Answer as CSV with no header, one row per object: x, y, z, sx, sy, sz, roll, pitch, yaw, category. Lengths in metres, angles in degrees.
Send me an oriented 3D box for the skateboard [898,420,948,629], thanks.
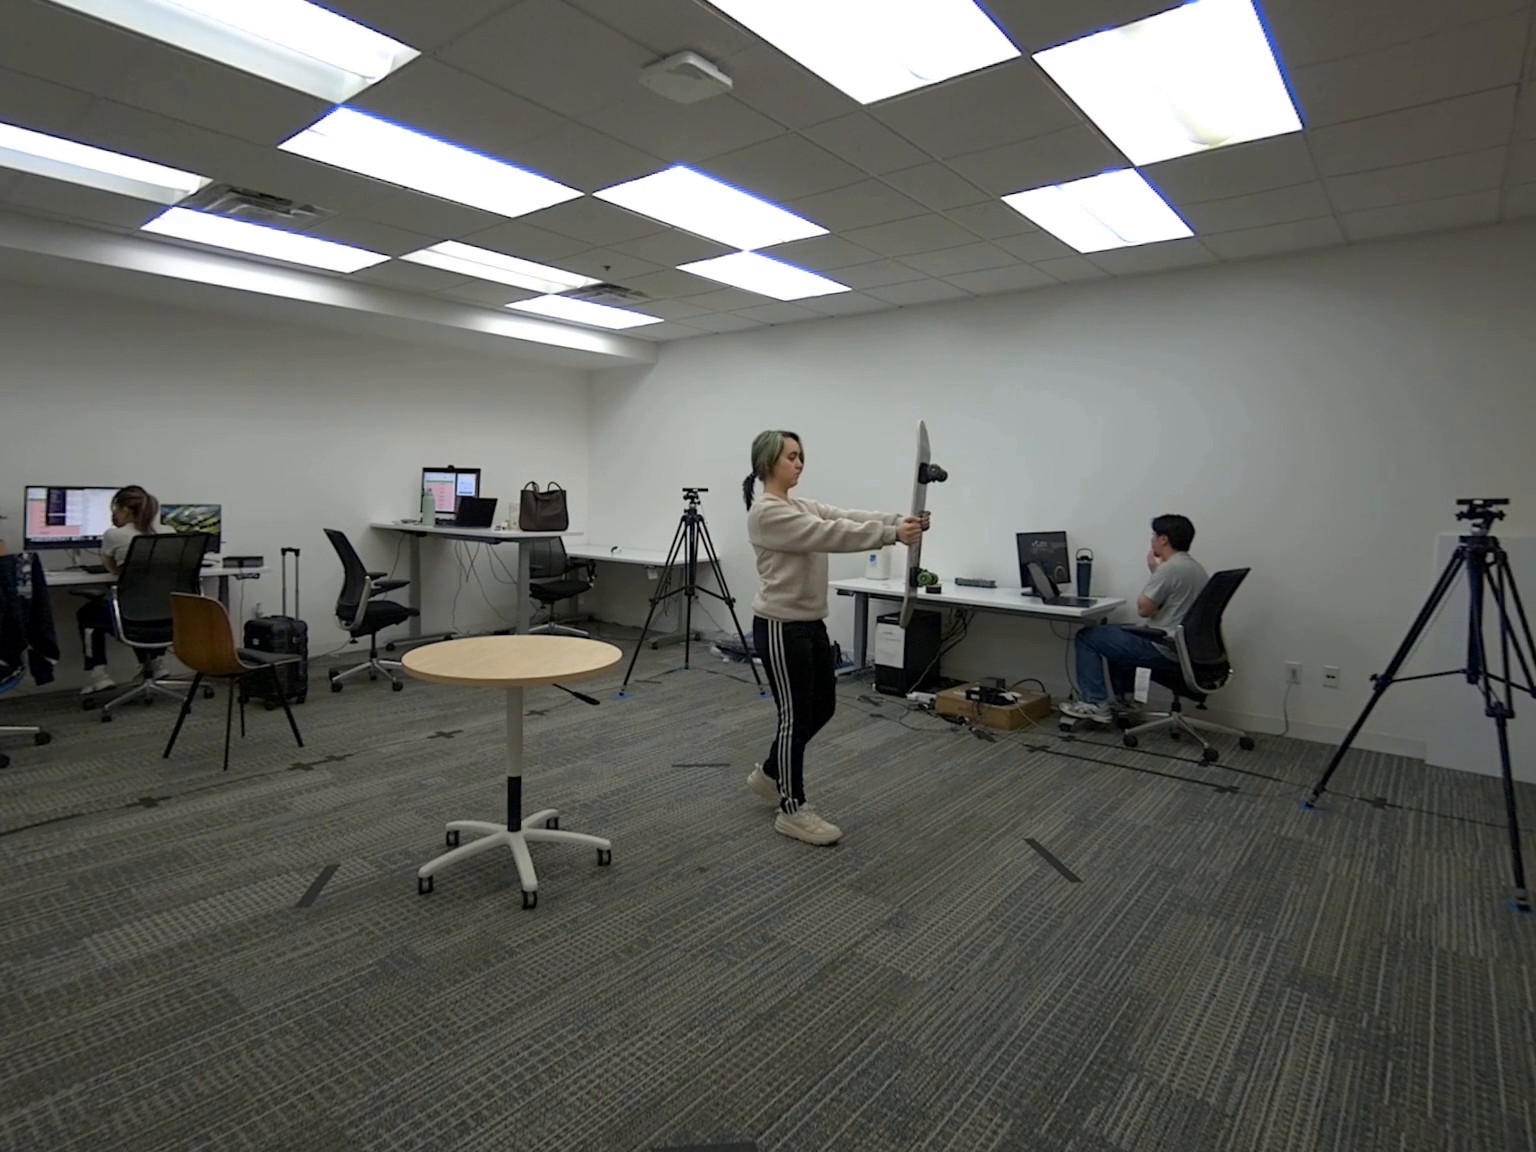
0.583,-0.192,3.204,0.113,0.786,0.188,6,0,22,skateboard
